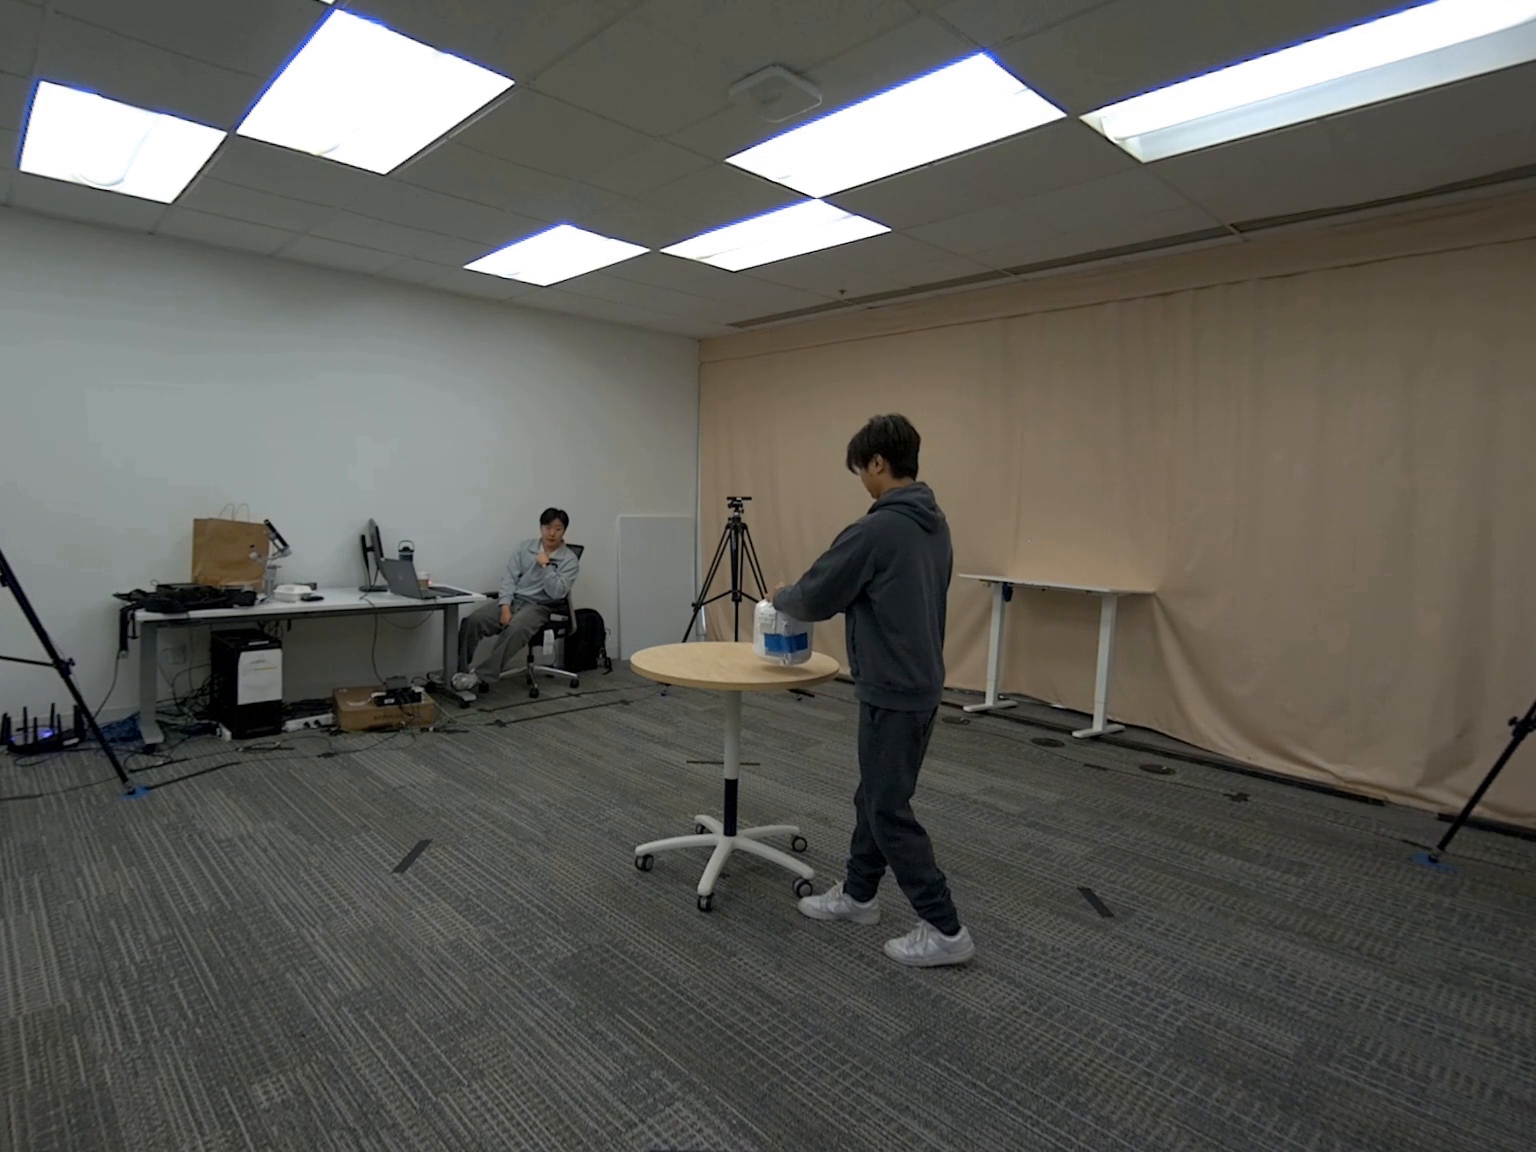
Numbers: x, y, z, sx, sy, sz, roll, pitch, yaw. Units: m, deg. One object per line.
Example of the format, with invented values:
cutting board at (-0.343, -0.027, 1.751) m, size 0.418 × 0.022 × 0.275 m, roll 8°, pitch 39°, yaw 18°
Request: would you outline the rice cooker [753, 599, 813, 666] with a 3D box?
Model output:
rice cooker at (0.048, 0.180, 2.936) m, size 0.223 × 0.232 × 0.215 m, roll 10°, pitch 7°, yaw 39°
